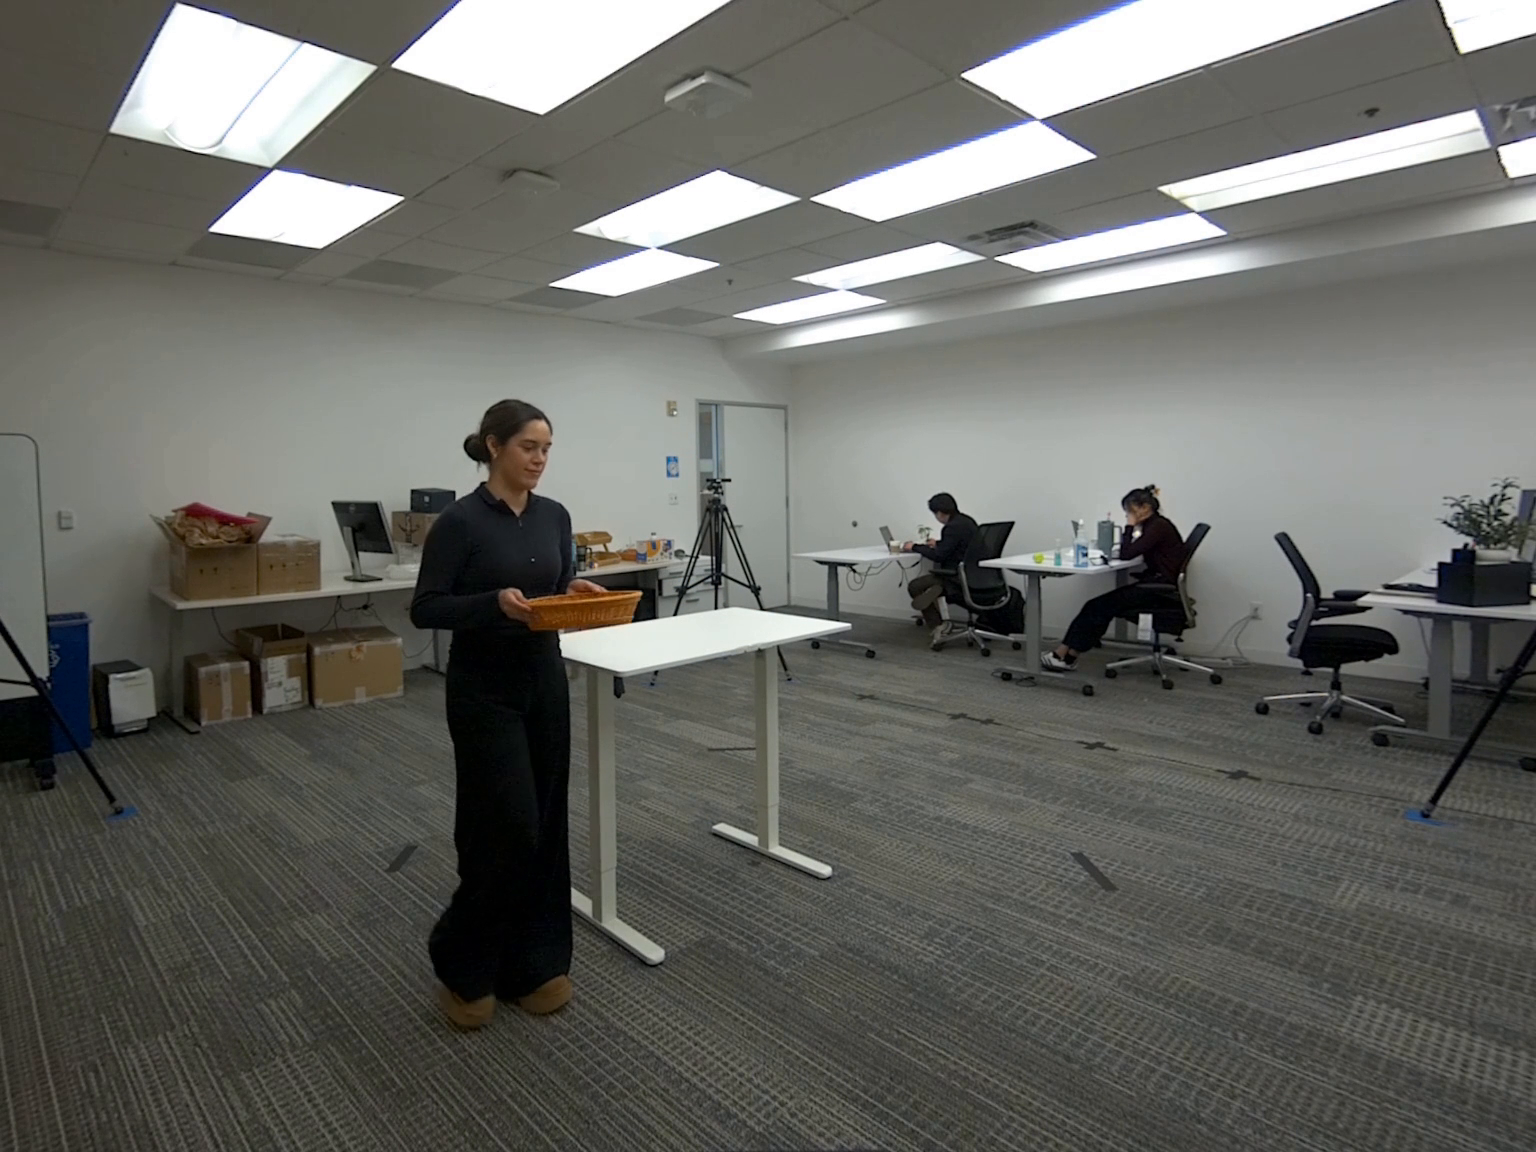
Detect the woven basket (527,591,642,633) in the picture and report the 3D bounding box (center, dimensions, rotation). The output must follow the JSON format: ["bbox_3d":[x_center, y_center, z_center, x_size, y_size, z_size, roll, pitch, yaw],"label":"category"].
[{"bbox_3d":[-0.489,0.098,2.095,0.359,0.073,0.246,-4,2,33],"label":"woven basket"}]
